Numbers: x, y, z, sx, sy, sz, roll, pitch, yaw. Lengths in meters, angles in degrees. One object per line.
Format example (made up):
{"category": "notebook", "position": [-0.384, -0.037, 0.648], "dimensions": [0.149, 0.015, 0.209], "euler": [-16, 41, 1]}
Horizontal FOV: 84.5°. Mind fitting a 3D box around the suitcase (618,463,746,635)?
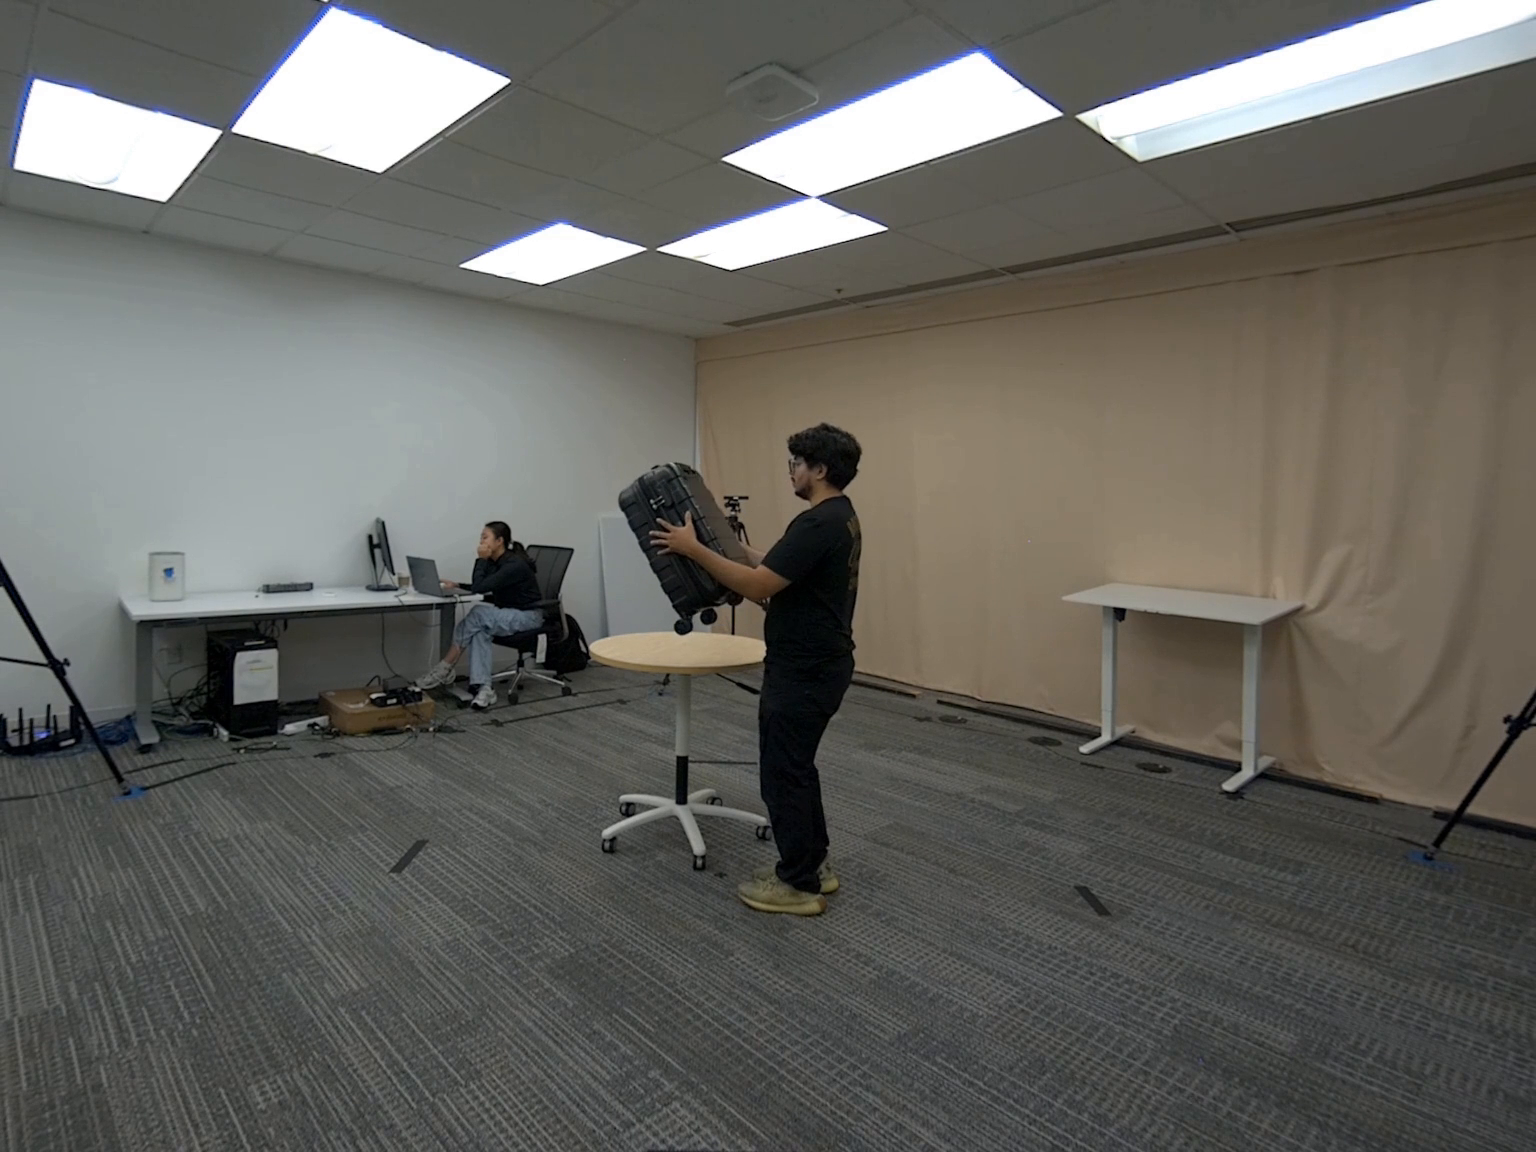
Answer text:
{"category": "suitcase", "position": [-0.273, -0.118, 2.932], "dimensions": [0.249, 0.552, 0.372], "euler": [-31, -4, 13]}
